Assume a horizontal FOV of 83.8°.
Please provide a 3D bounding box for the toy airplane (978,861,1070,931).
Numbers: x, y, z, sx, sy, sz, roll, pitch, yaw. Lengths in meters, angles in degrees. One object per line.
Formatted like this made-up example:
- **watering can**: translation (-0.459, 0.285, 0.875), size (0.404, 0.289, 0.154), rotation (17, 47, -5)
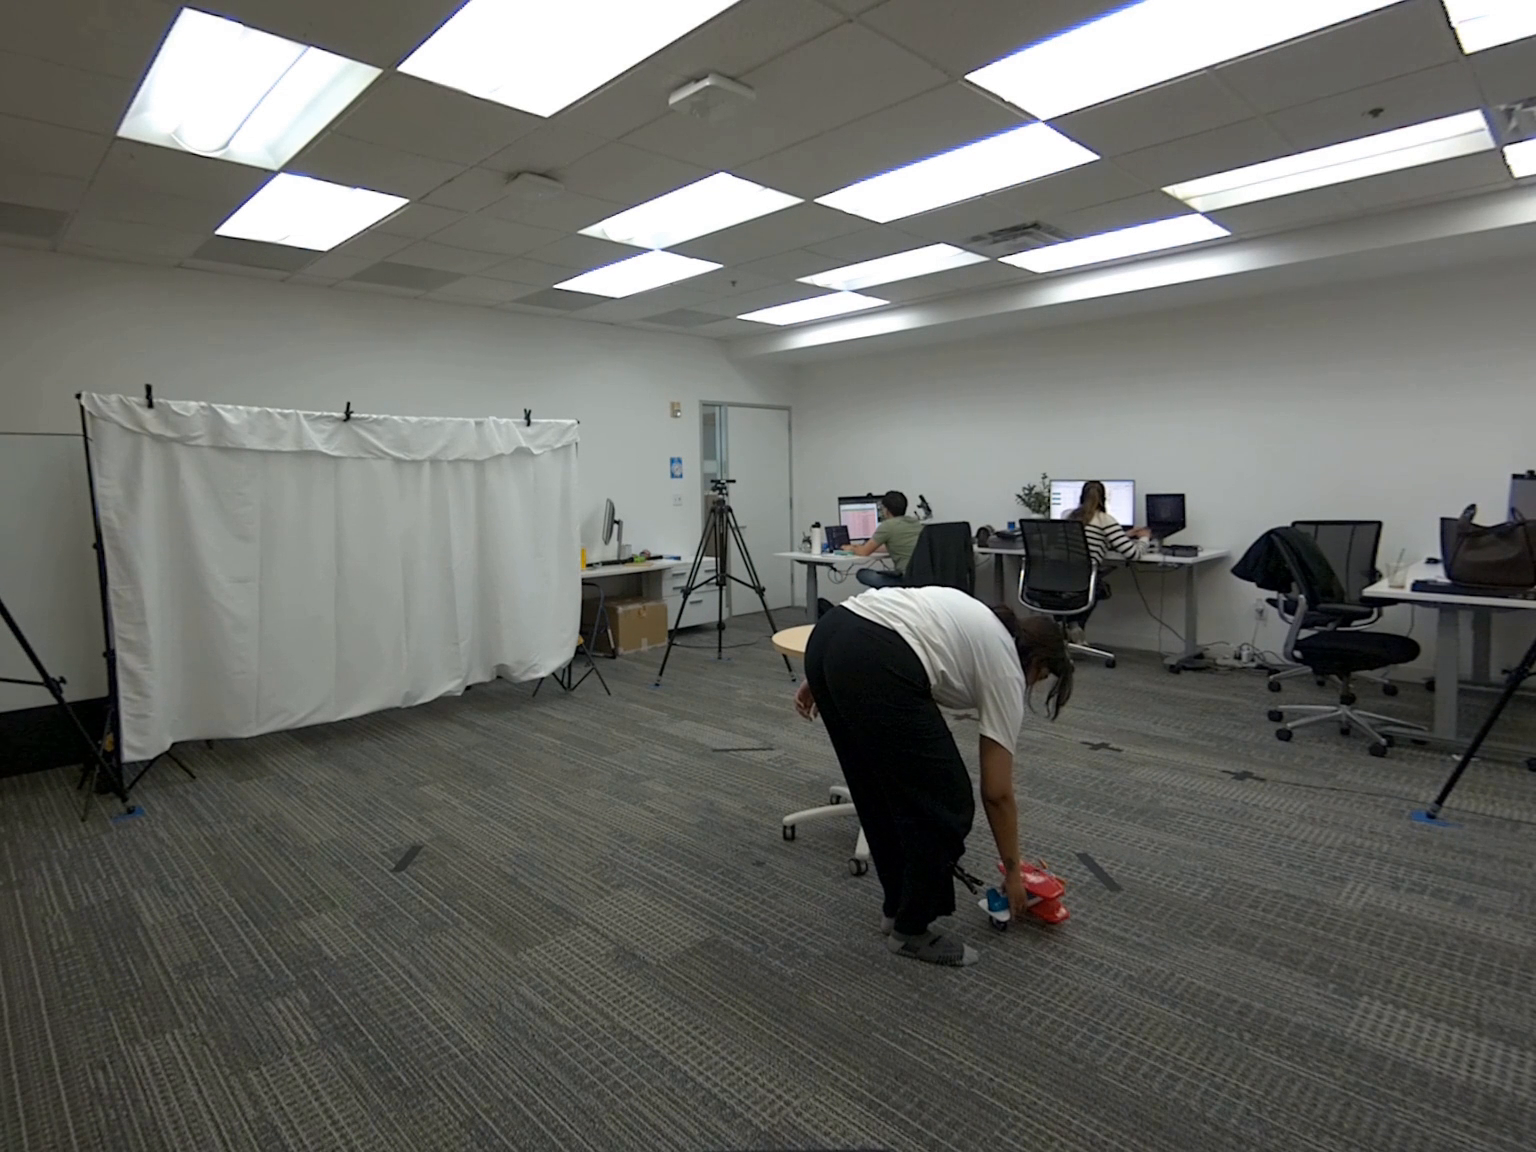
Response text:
- **toy airplane**: translation (0.815, 1.013, 2.653), size (0.259, 0.156, 0.252), rotation (5, 7, 40)
